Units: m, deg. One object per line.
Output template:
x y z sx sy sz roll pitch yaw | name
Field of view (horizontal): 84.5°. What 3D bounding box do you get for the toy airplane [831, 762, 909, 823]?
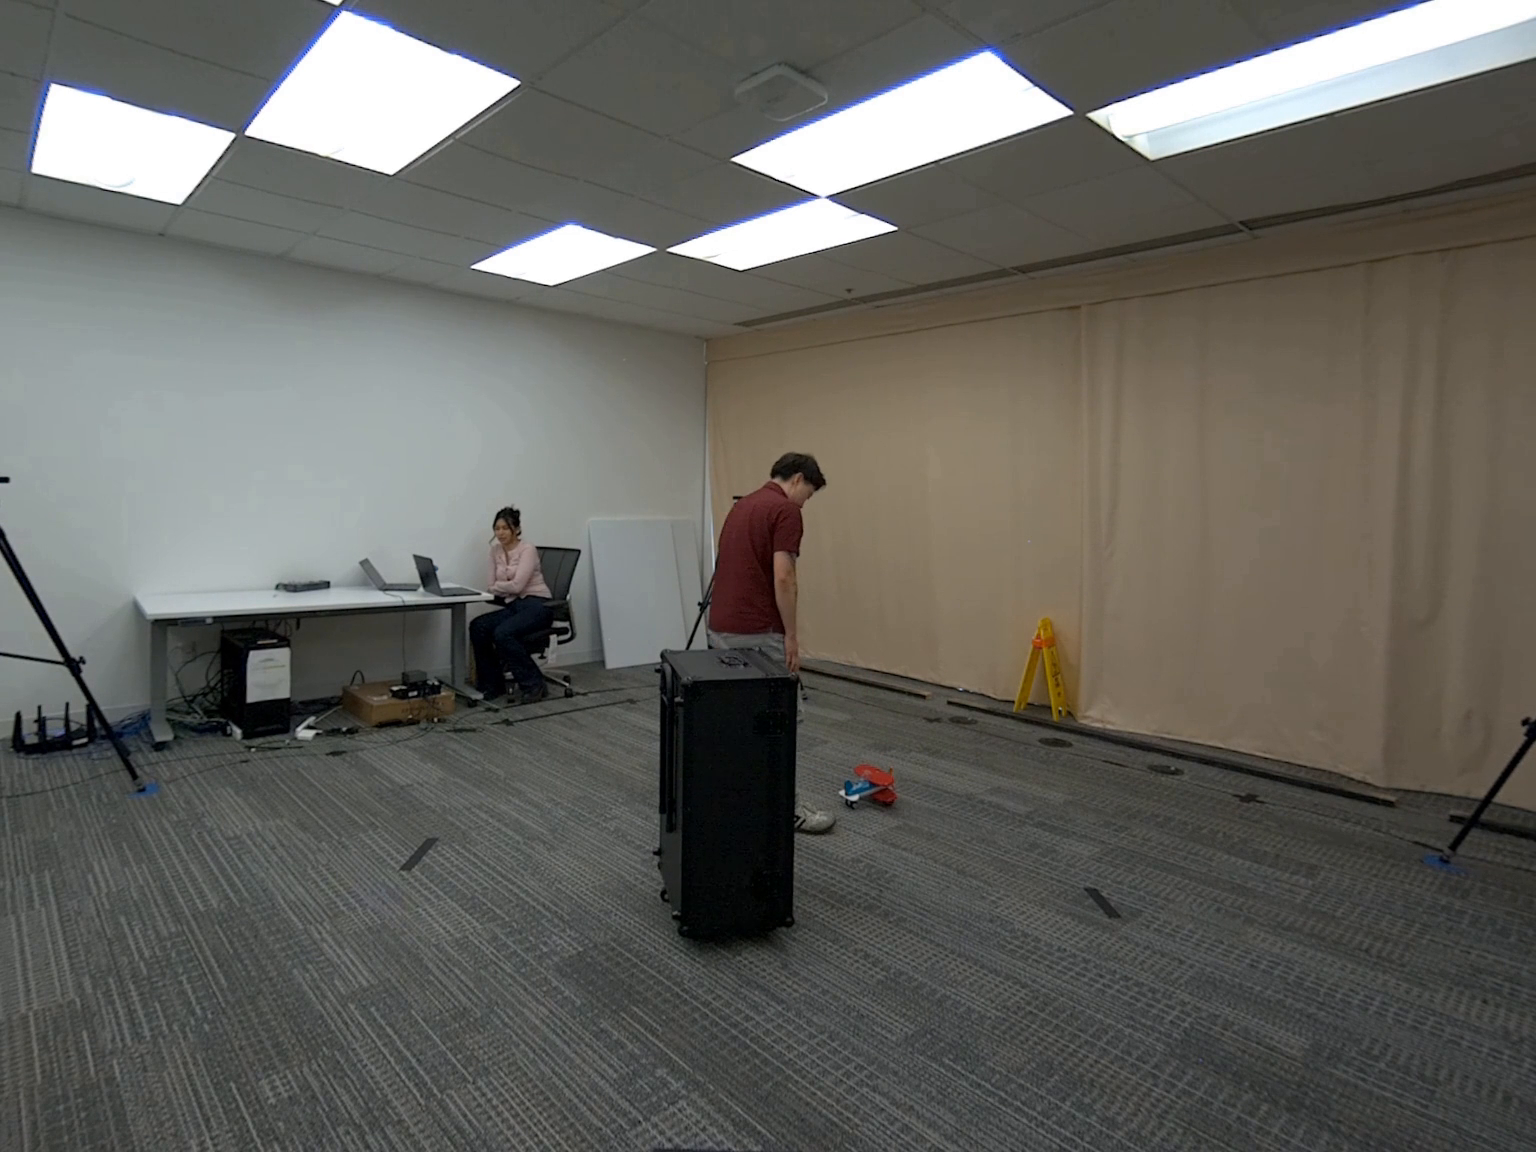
0.465 0.980 3.856 0.257 0.156 0.254 4 4 34 | toy airplane
